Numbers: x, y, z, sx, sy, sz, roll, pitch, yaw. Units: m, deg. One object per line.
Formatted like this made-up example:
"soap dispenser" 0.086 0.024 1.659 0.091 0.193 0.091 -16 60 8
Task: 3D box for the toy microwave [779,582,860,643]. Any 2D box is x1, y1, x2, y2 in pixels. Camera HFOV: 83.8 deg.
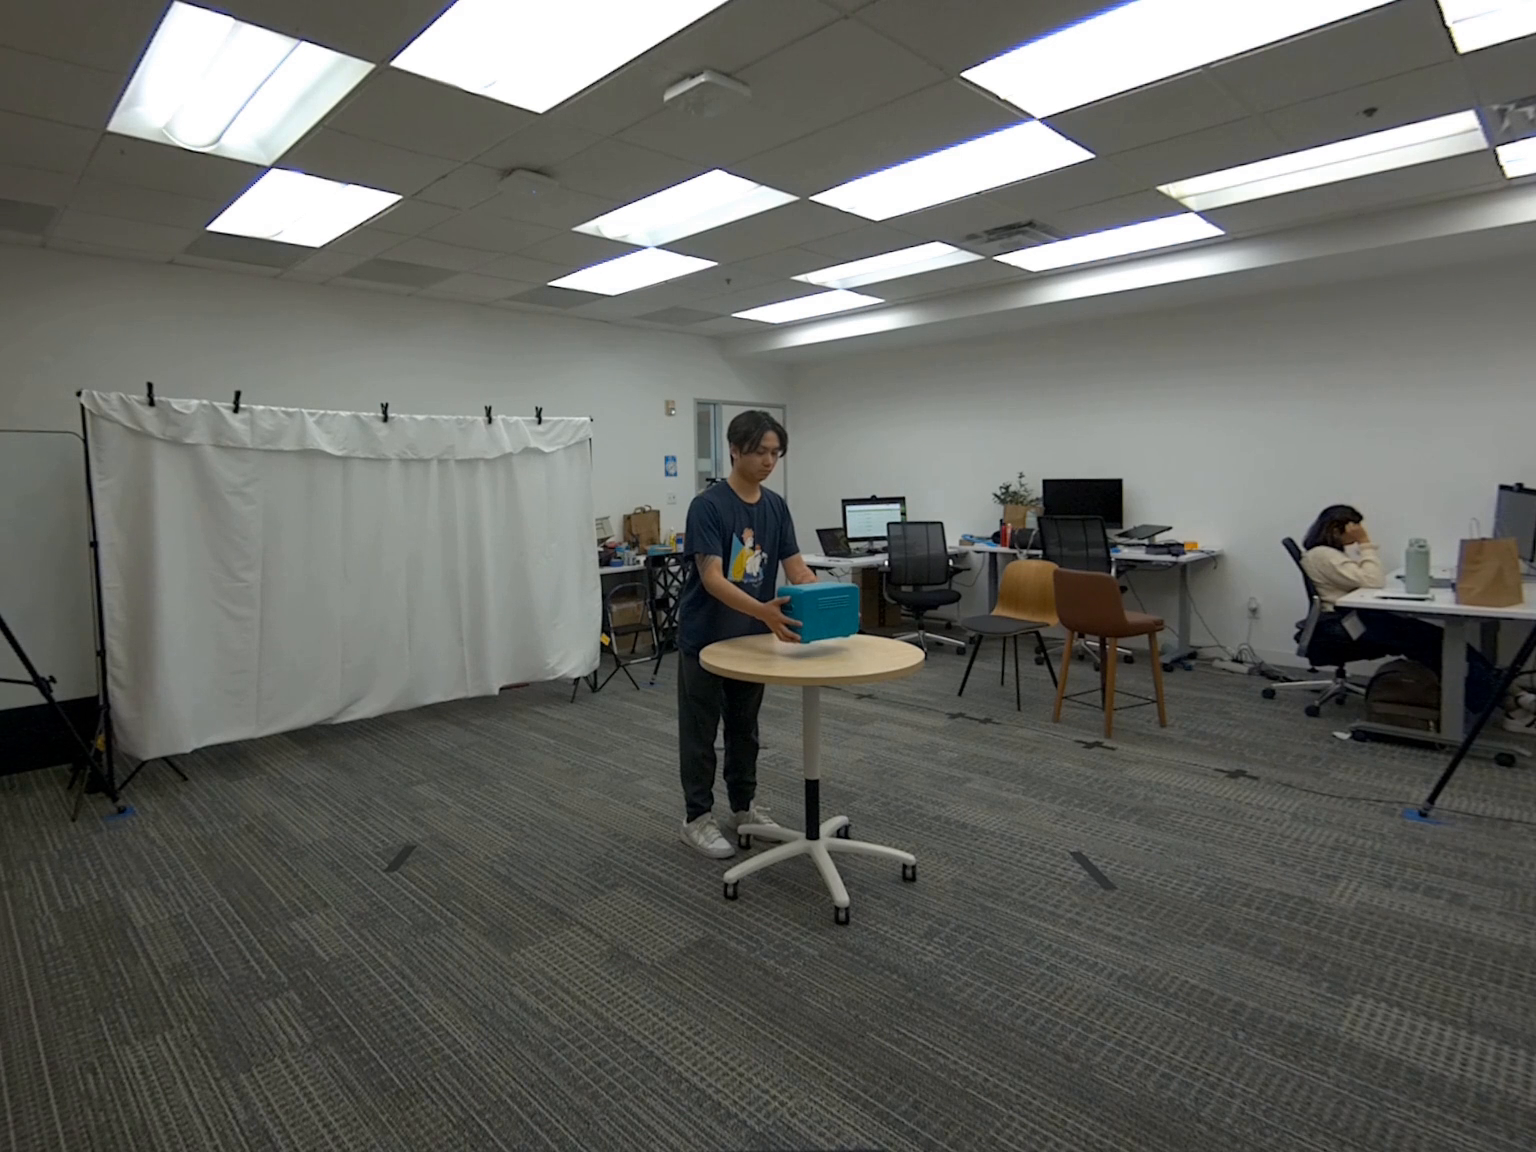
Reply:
"toy microwave" 0.175 0.124 2.913 0.278 0.183 0.157 -4 6 -39
